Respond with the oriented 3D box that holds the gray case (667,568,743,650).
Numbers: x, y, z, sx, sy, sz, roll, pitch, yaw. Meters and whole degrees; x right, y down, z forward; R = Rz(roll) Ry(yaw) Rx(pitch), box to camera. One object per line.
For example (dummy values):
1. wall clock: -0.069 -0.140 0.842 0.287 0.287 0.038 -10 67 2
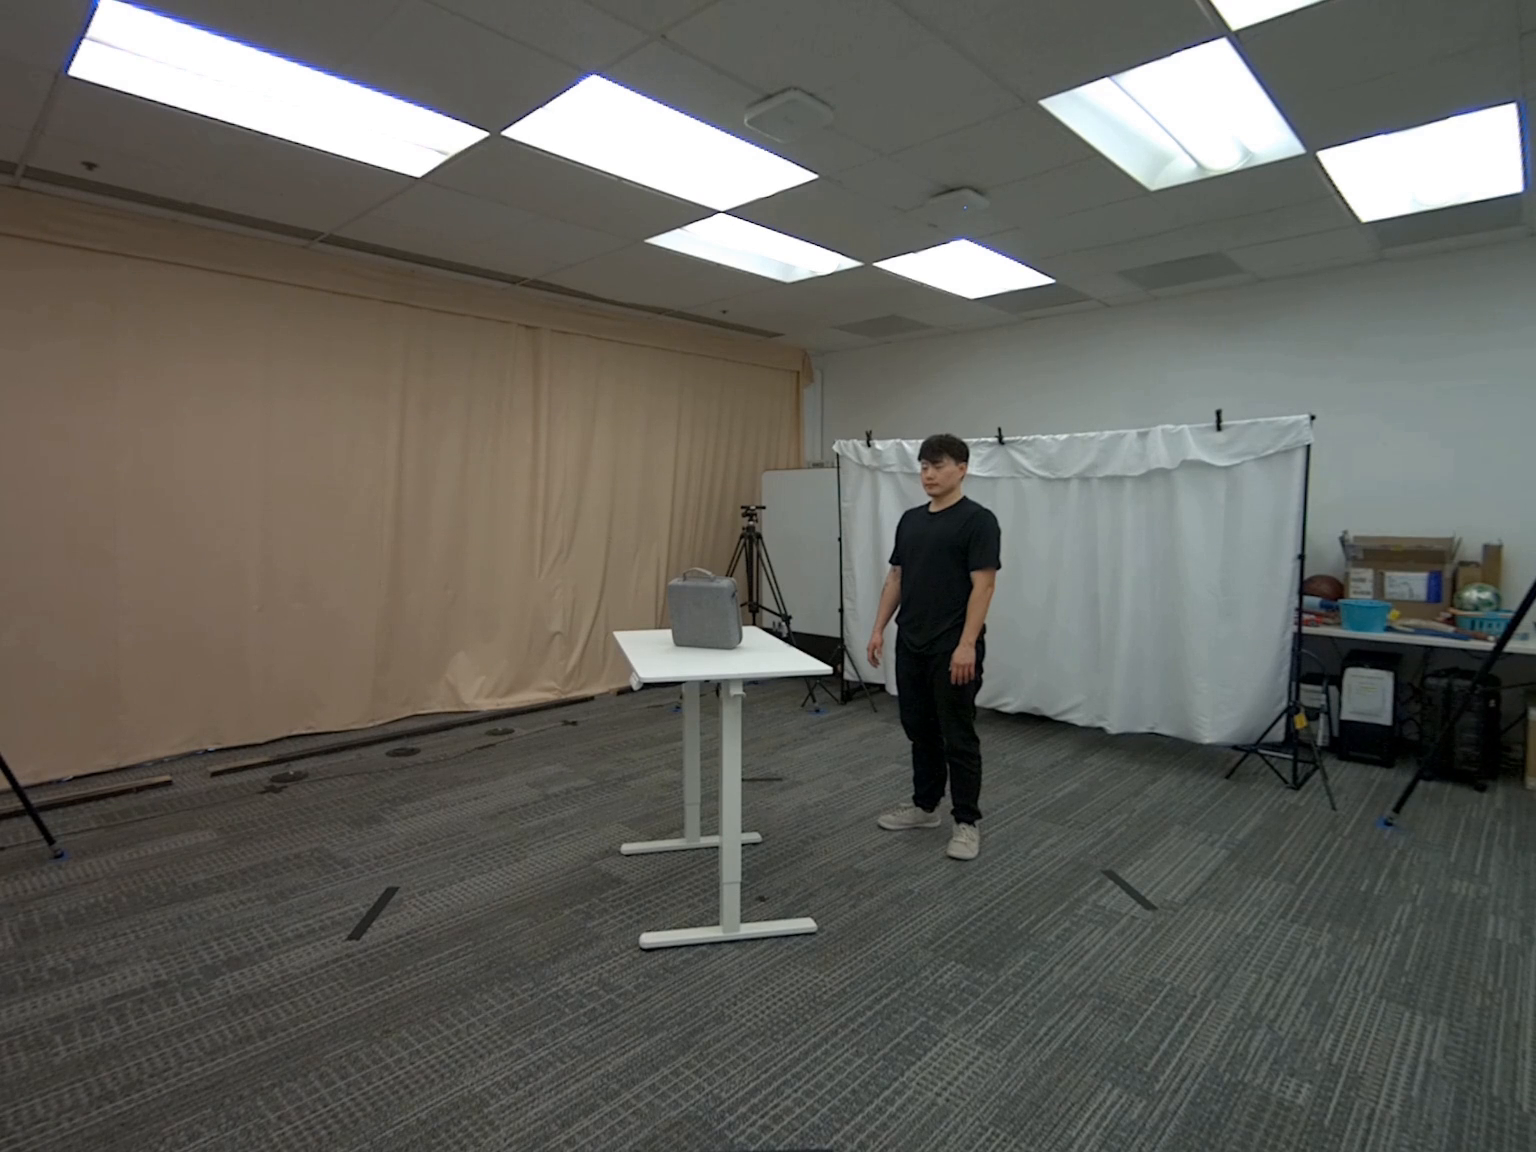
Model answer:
1. gray case: -0.223 0.130 3.039 0.263 0.258 0.103 0 13 23
